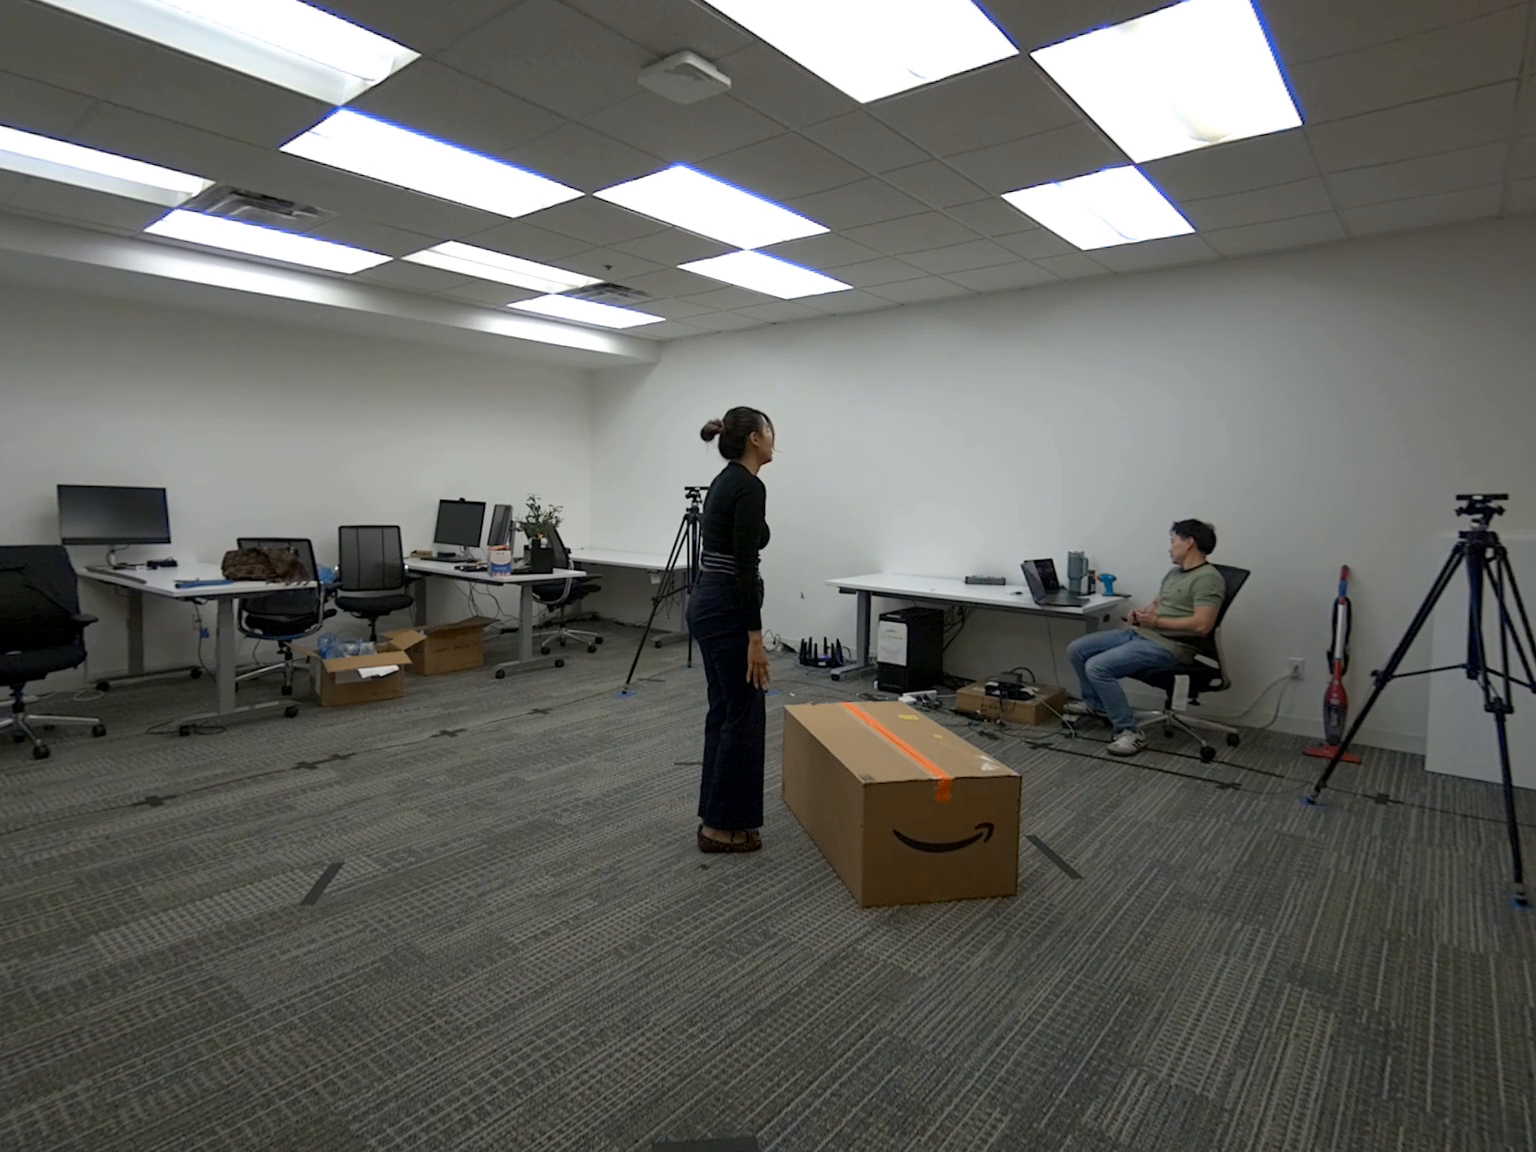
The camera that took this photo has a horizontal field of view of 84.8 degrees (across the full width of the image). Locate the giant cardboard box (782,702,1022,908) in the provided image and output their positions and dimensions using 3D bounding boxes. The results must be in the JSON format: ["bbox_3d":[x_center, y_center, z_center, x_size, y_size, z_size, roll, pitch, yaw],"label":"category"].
[{"bbox_3d":[0.458,0.830,3.373,0.570,0.424,1.044,-1,6,-14],"label":"giant cardboard box"}]
